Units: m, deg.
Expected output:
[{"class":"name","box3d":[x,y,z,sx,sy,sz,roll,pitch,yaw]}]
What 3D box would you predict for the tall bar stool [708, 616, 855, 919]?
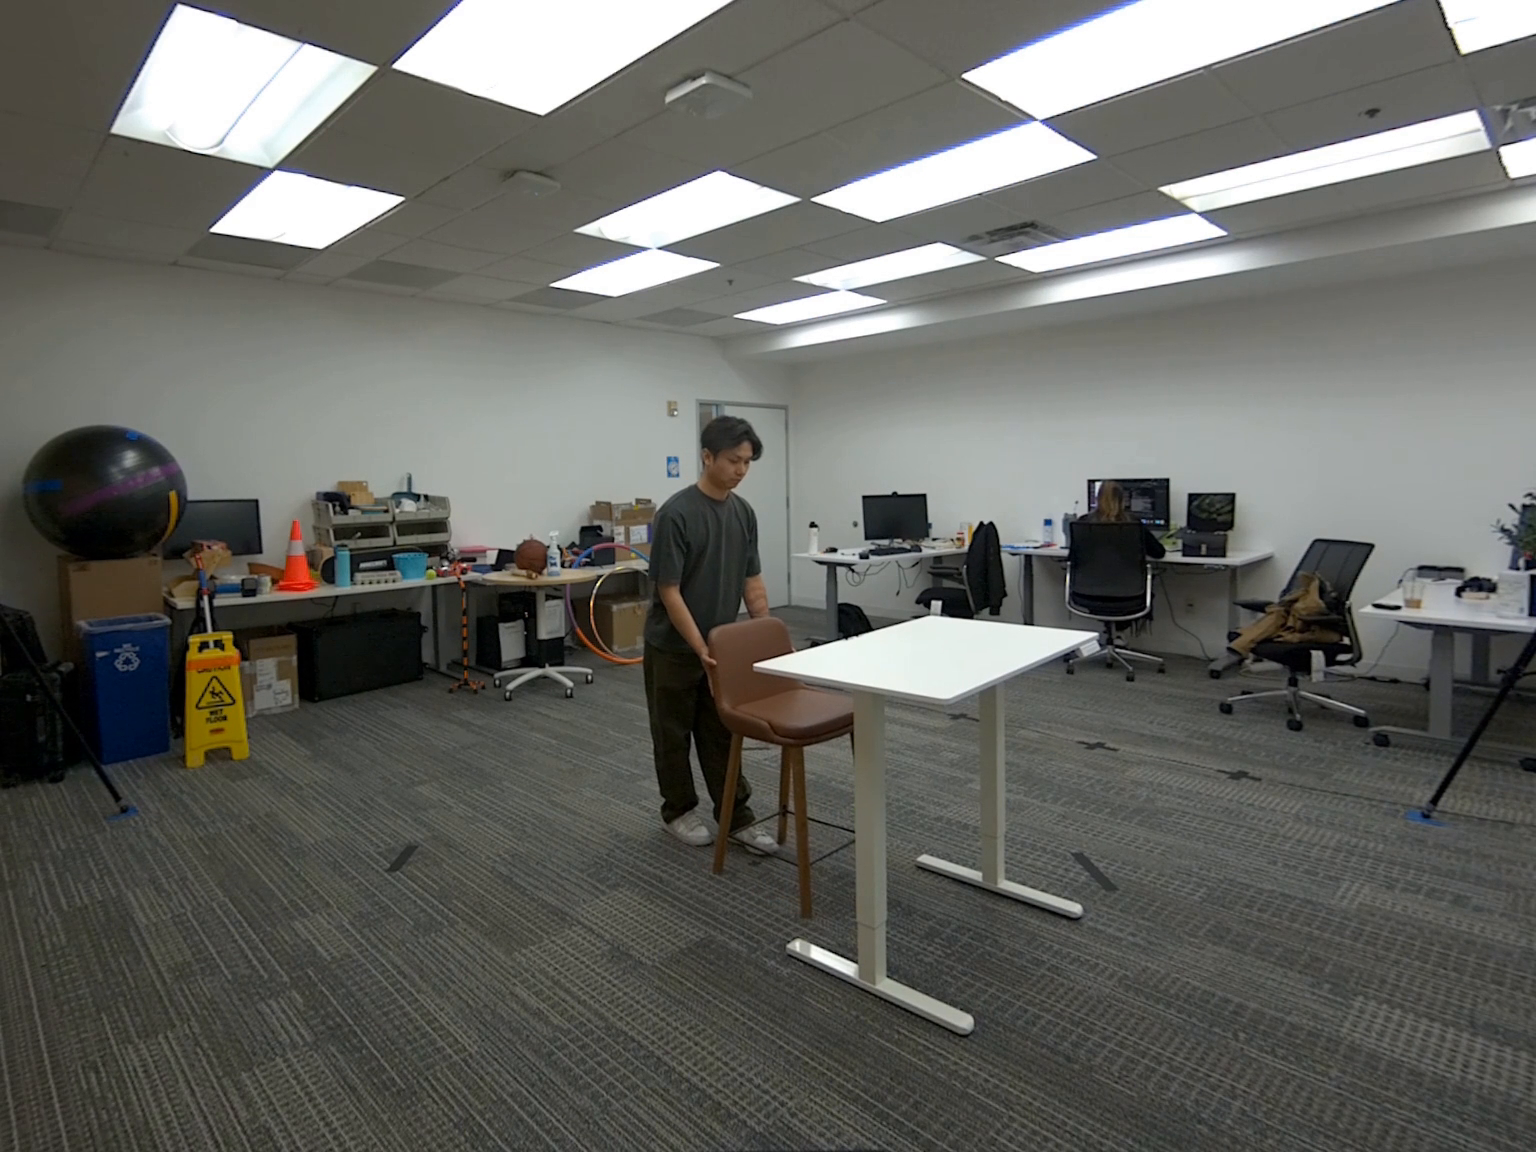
[{"class":"tall bar stool","box3d":[0.083,0.618,2.984,0.481,0.887,0.444,1,4,43]}]
